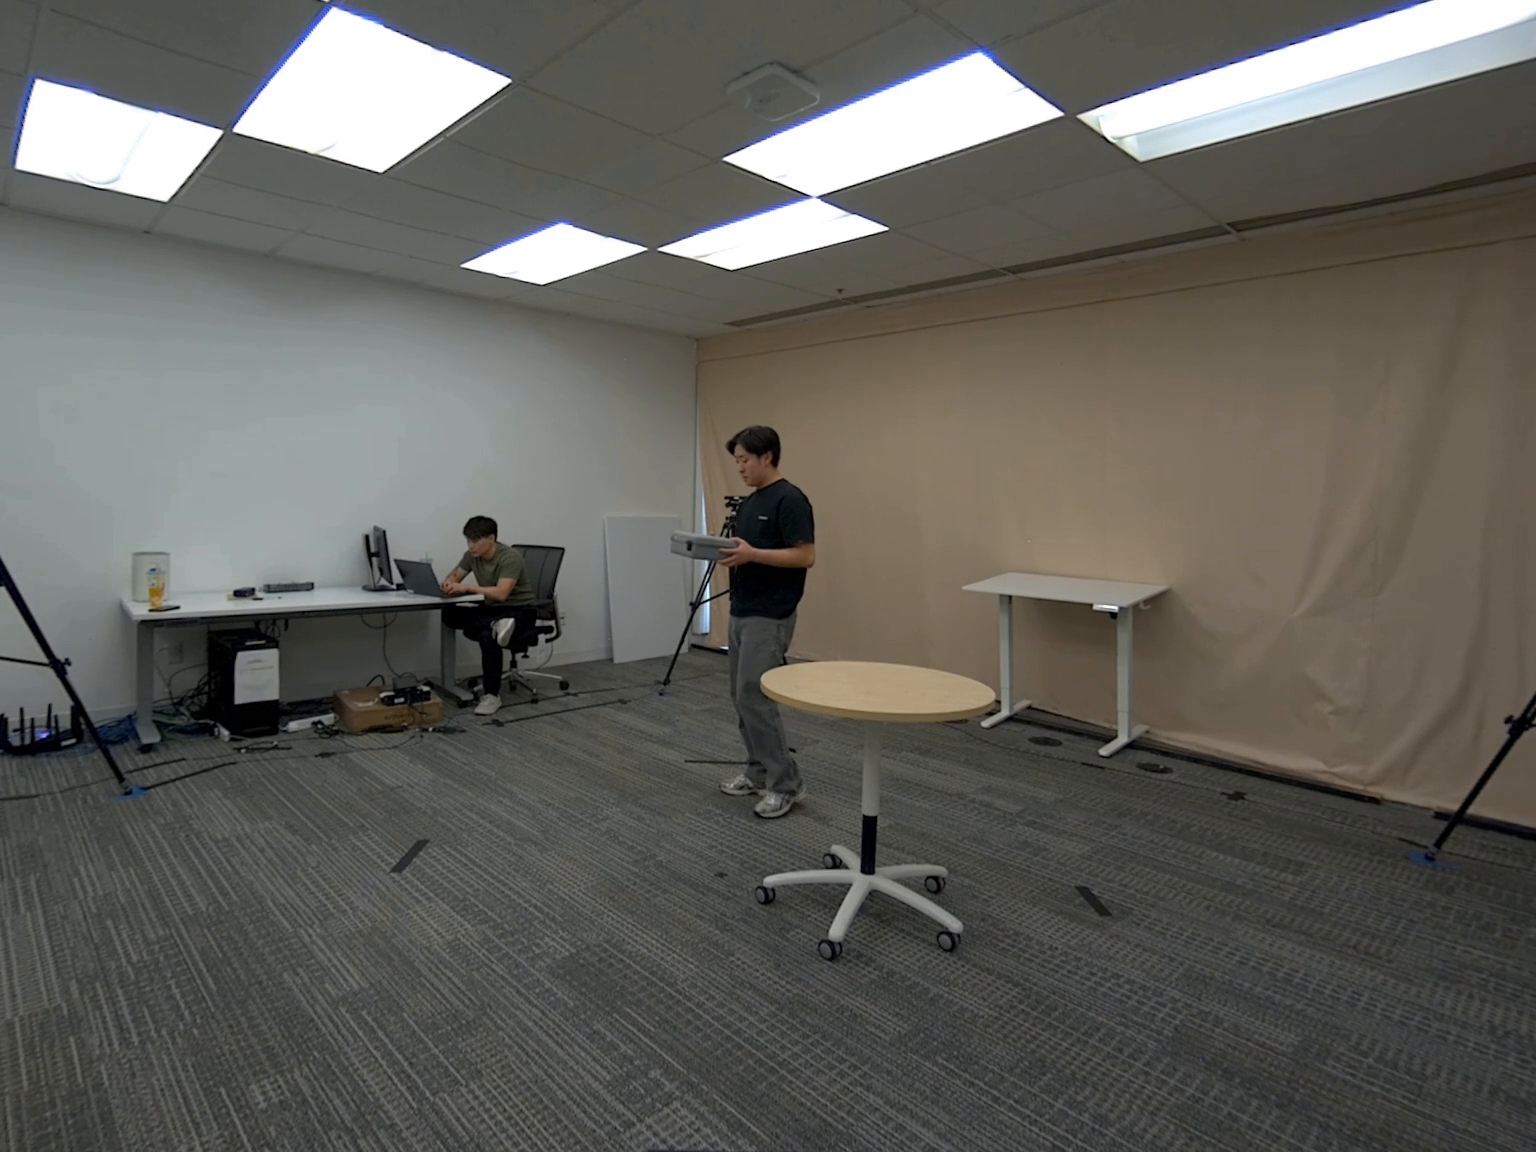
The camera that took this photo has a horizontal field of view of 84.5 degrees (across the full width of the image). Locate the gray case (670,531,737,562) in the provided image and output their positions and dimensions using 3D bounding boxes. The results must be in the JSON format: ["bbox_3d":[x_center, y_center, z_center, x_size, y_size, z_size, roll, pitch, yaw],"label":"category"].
[{"bbox_3d":[-0.279,-0.125,3.737,0.282,0.103,0.269,5,6,-23],"label":"gray case"}]
